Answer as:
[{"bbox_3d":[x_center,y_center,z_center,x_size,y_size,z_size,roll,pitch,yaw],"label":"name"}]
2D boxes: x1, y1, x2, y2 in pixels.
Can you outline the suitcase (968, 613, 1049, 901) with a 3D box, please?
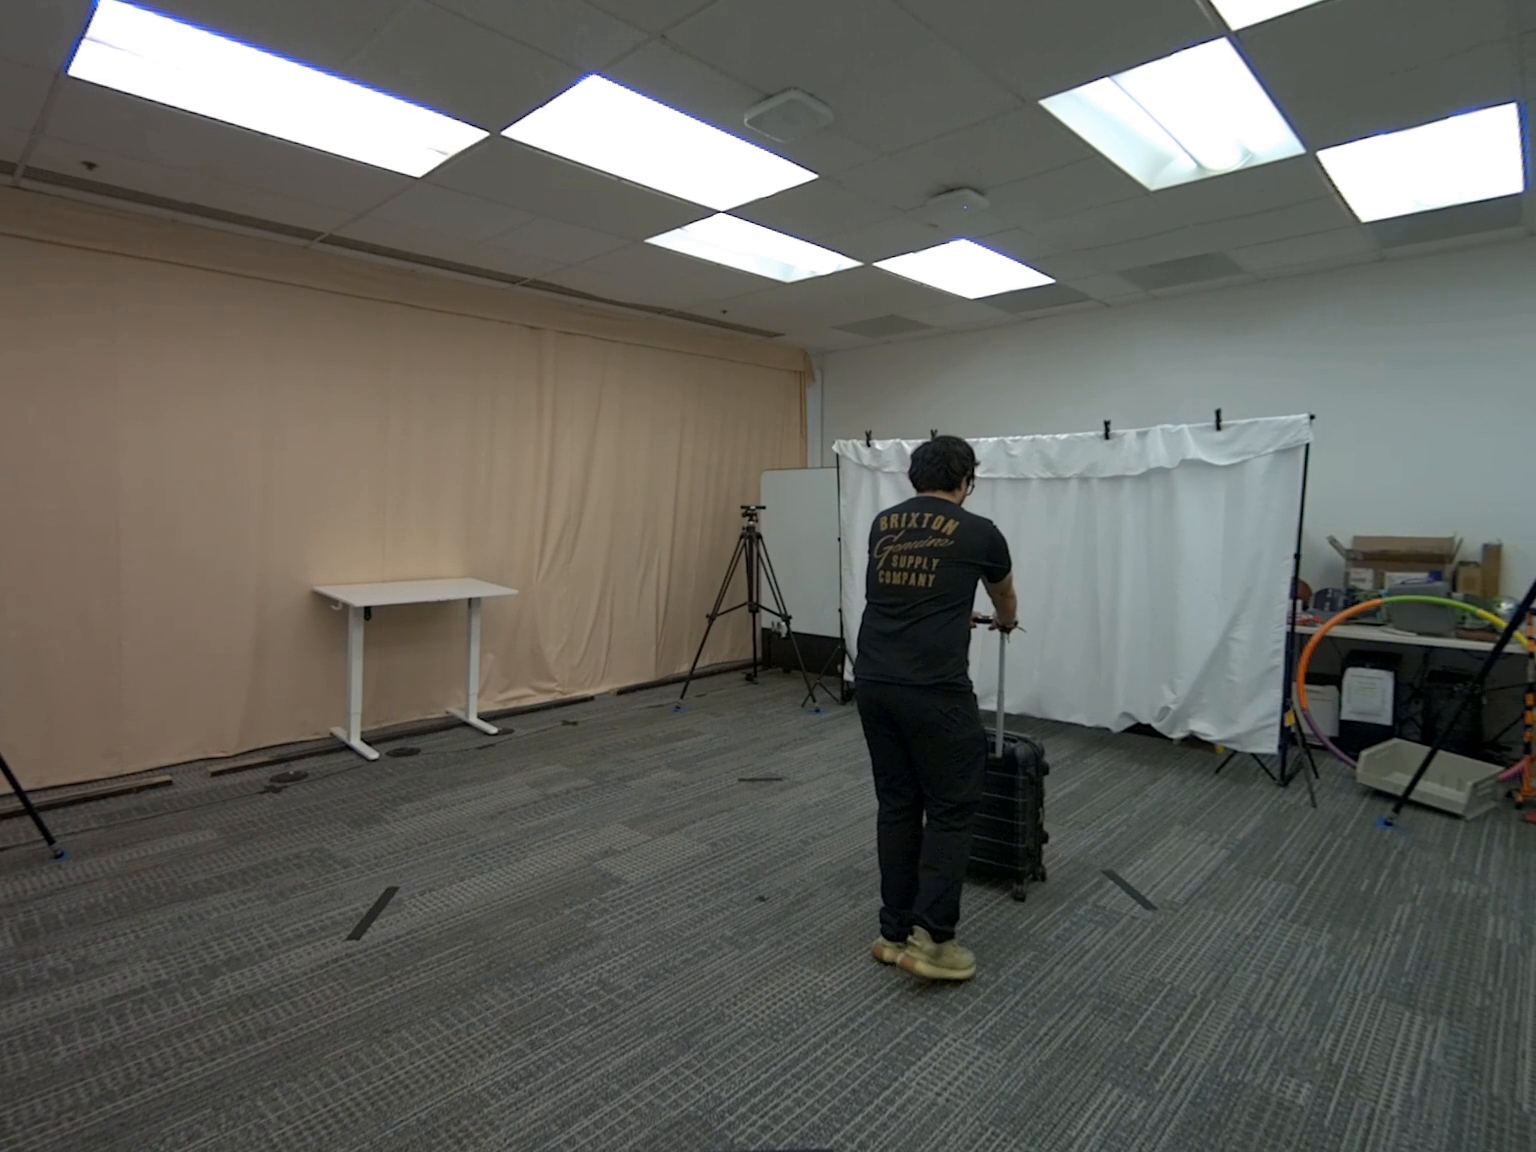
[{"bbox_3d":[0.850,0.653,3.165,0.396,0.980,0.249,0,-2,36],"label":"suitcase"}]
